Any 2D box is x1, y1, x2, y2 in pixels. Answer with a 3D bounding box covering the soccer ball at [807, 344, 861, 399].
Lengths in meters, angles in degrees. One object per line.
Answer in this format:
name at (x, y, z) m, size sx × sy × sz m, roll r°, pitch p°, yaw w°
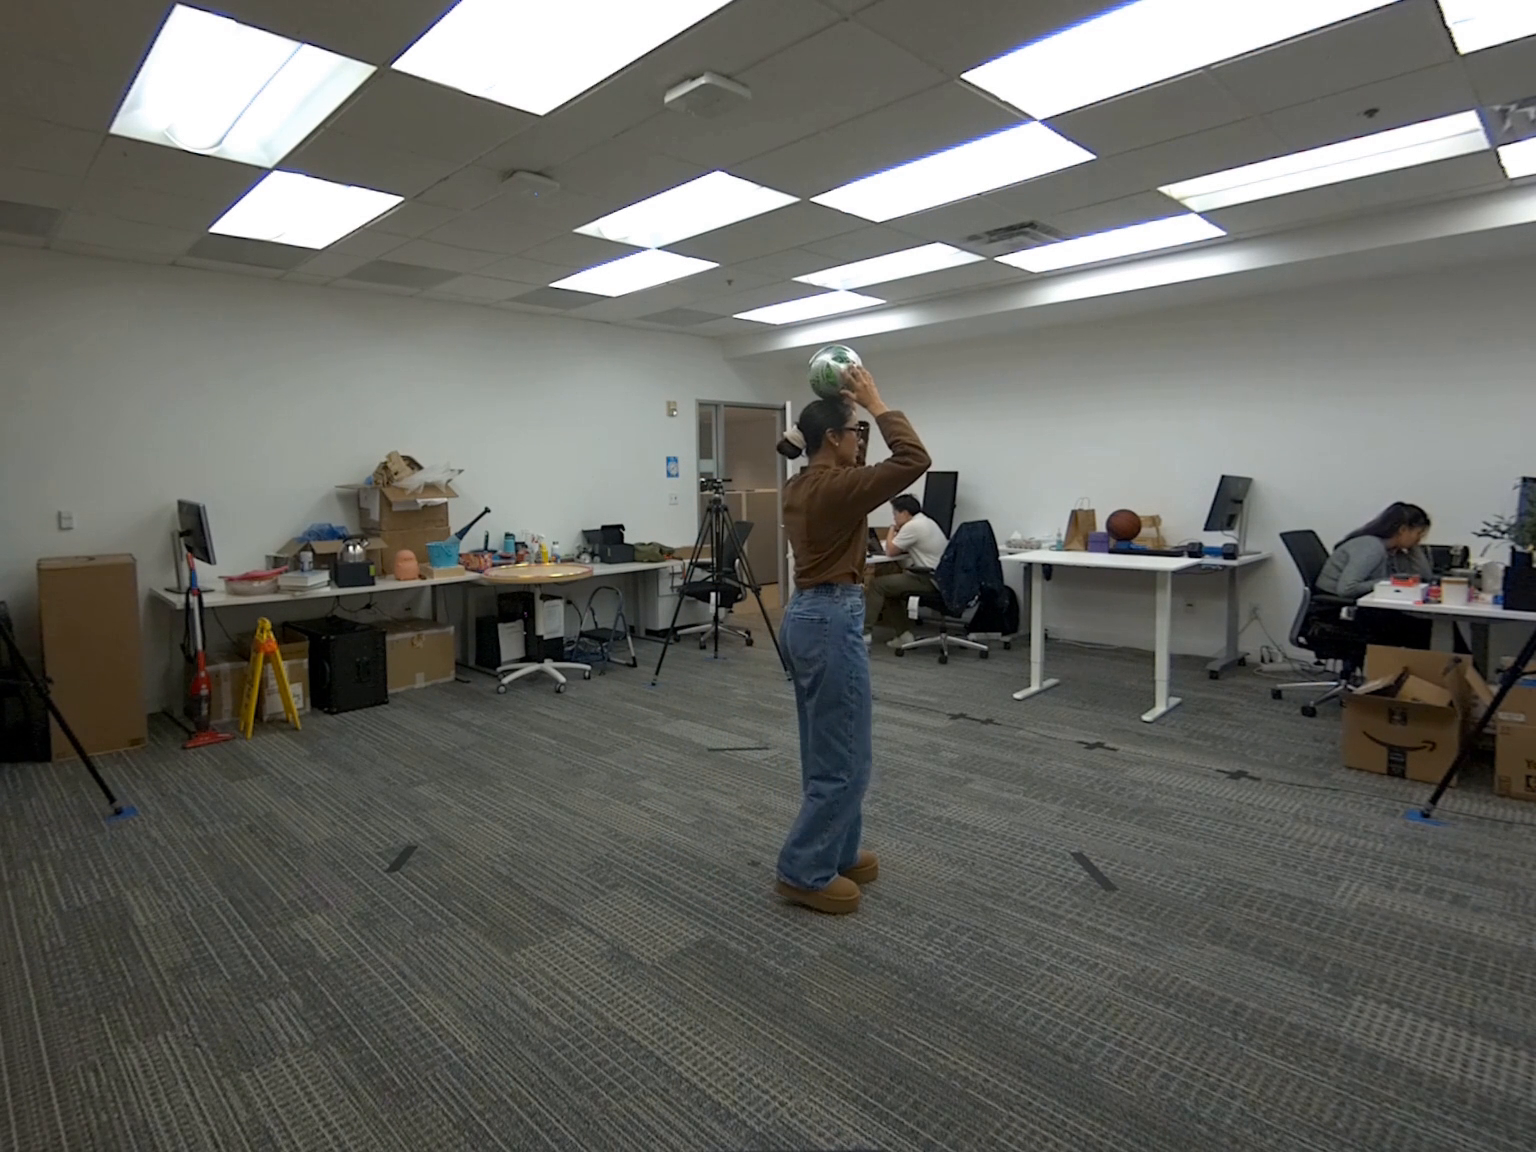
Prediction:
soccer ball at (0.228, -0.679, 2.856) m, size 0.187 × 0.187 × 0.188 m, roll -1°, pitch 5°, yaw -2°
